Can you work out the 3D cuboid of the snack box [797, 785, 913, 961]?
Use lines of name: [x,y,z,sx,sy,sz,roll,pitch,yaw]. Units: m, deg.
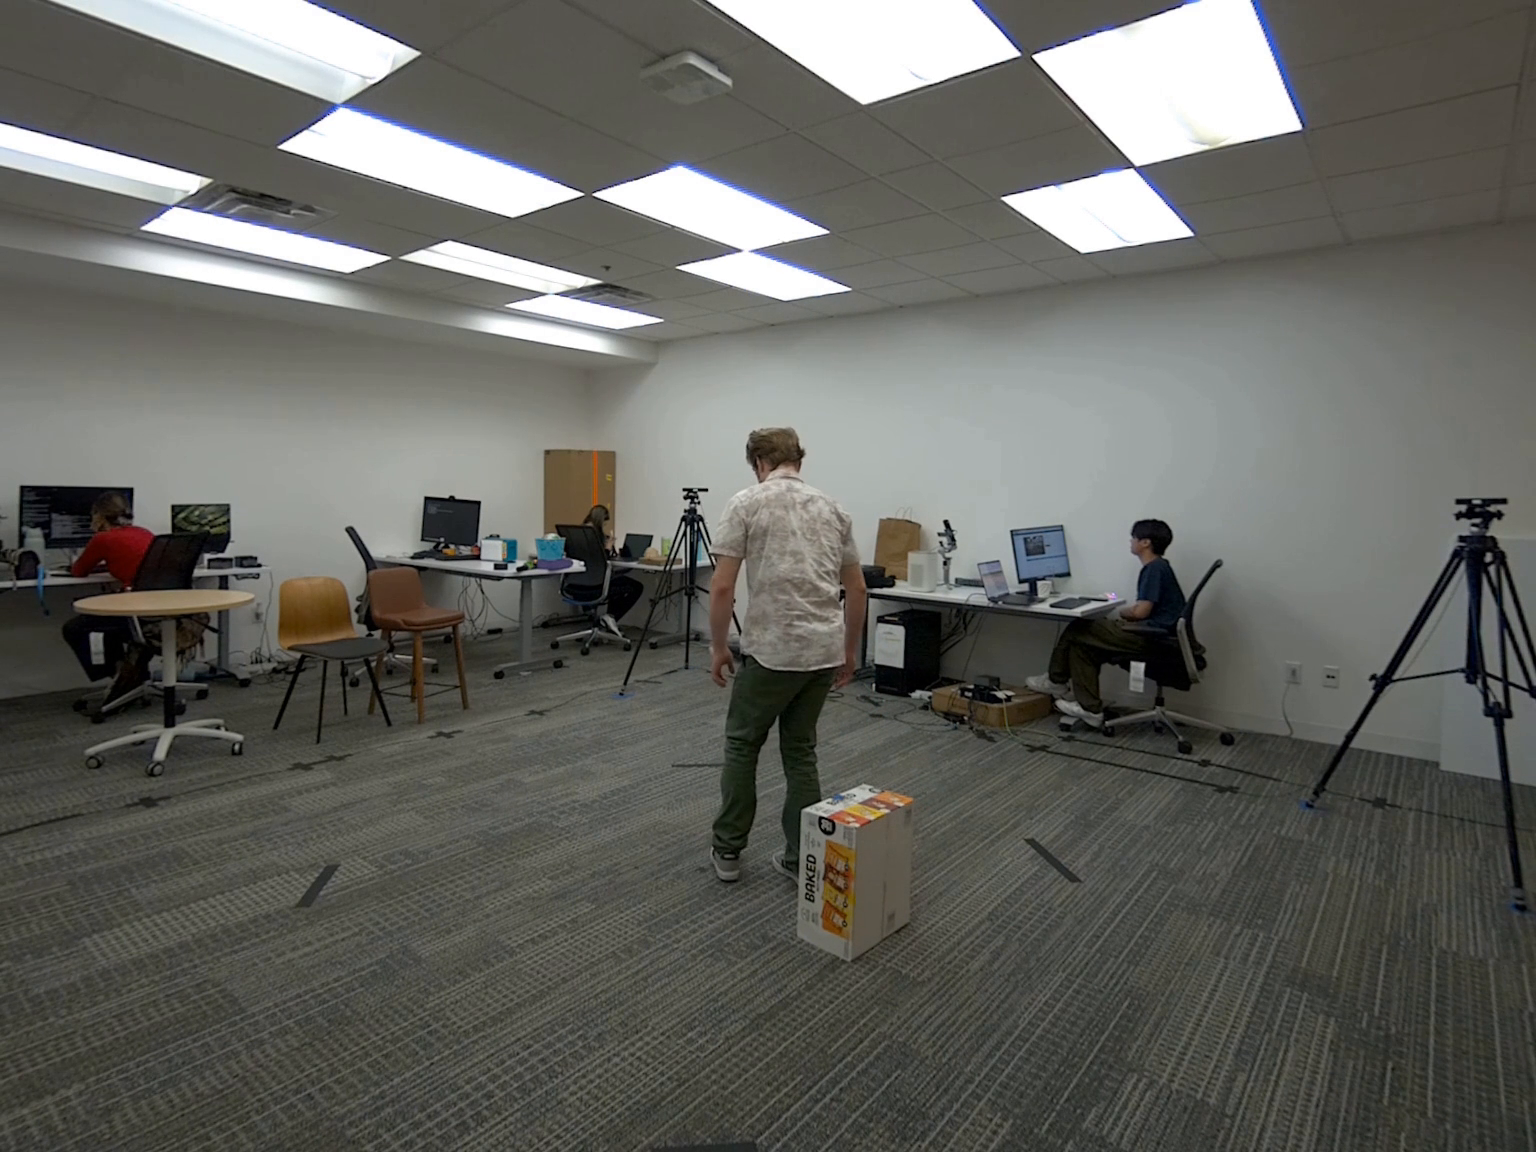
snack box: [0.278,0.918,2.691,0.212,0.404,0.330,4,4,41]
